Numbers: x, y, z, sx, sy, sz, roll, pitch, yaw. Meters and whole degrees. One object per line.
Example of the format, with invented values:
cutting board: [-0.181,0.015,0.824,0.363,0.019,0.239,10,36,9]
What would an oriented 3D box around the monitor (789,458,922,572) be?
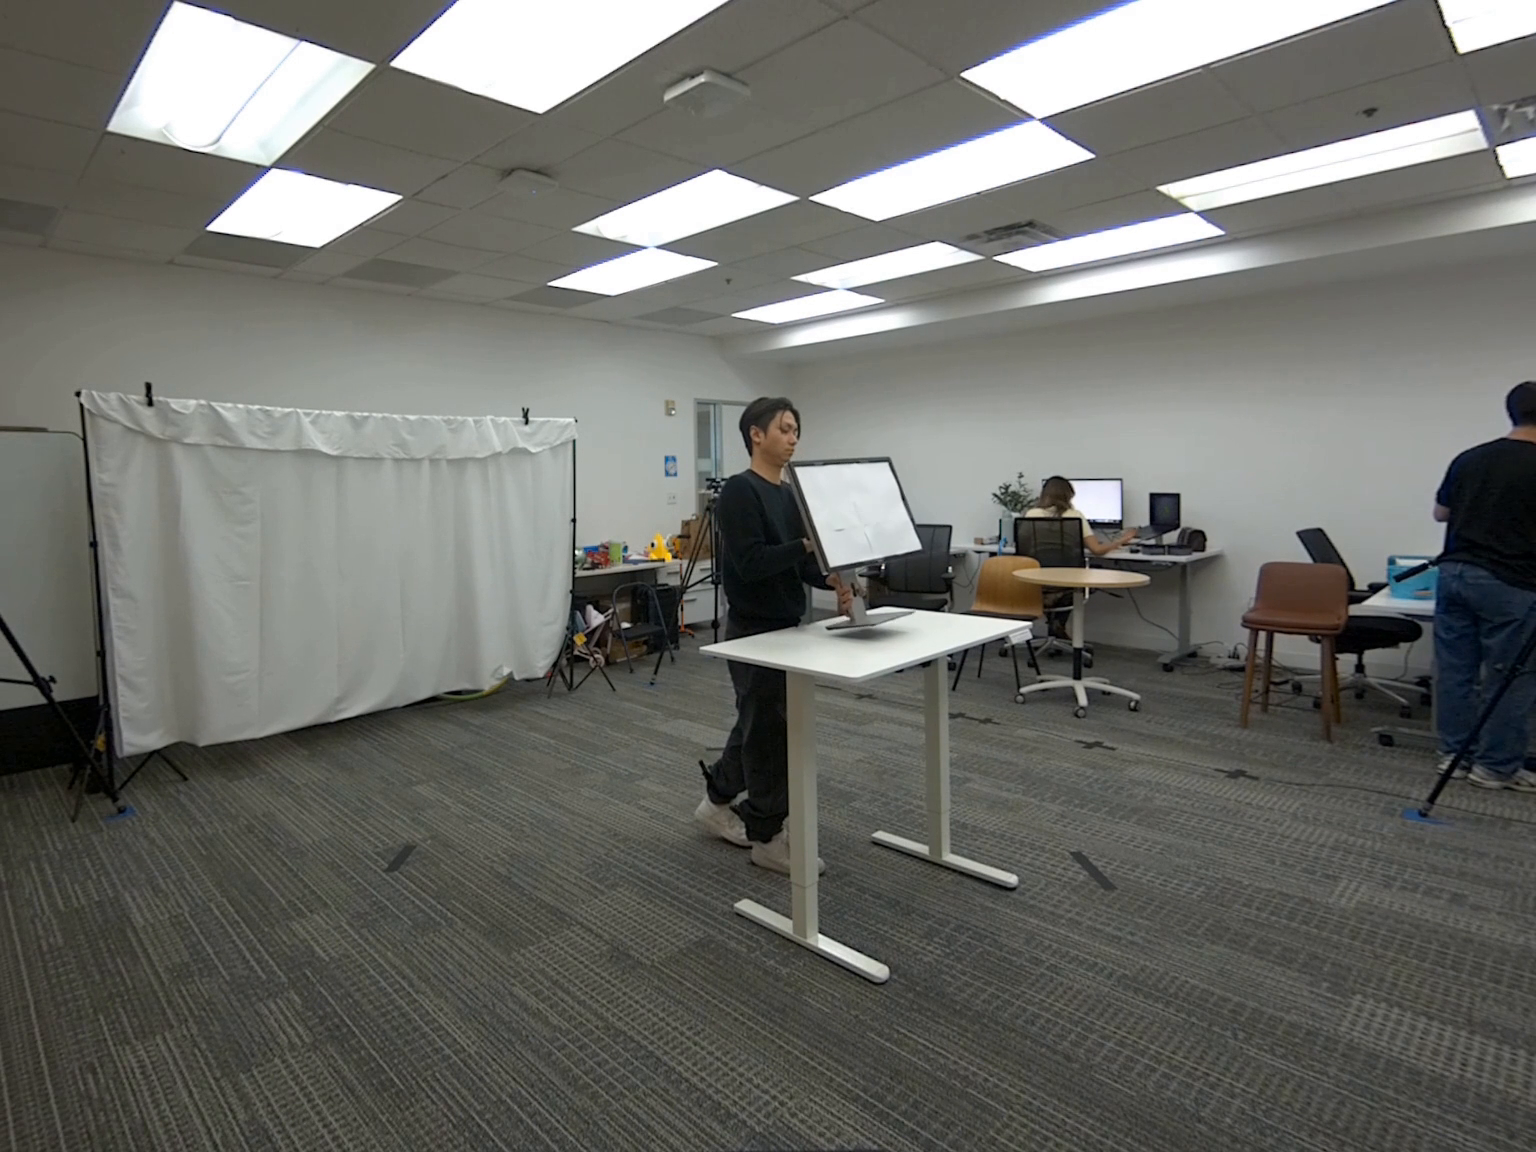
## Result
monitor: [0.278,-0.118,2.804,0.191,0.523,0.526,-10,-1,42]
